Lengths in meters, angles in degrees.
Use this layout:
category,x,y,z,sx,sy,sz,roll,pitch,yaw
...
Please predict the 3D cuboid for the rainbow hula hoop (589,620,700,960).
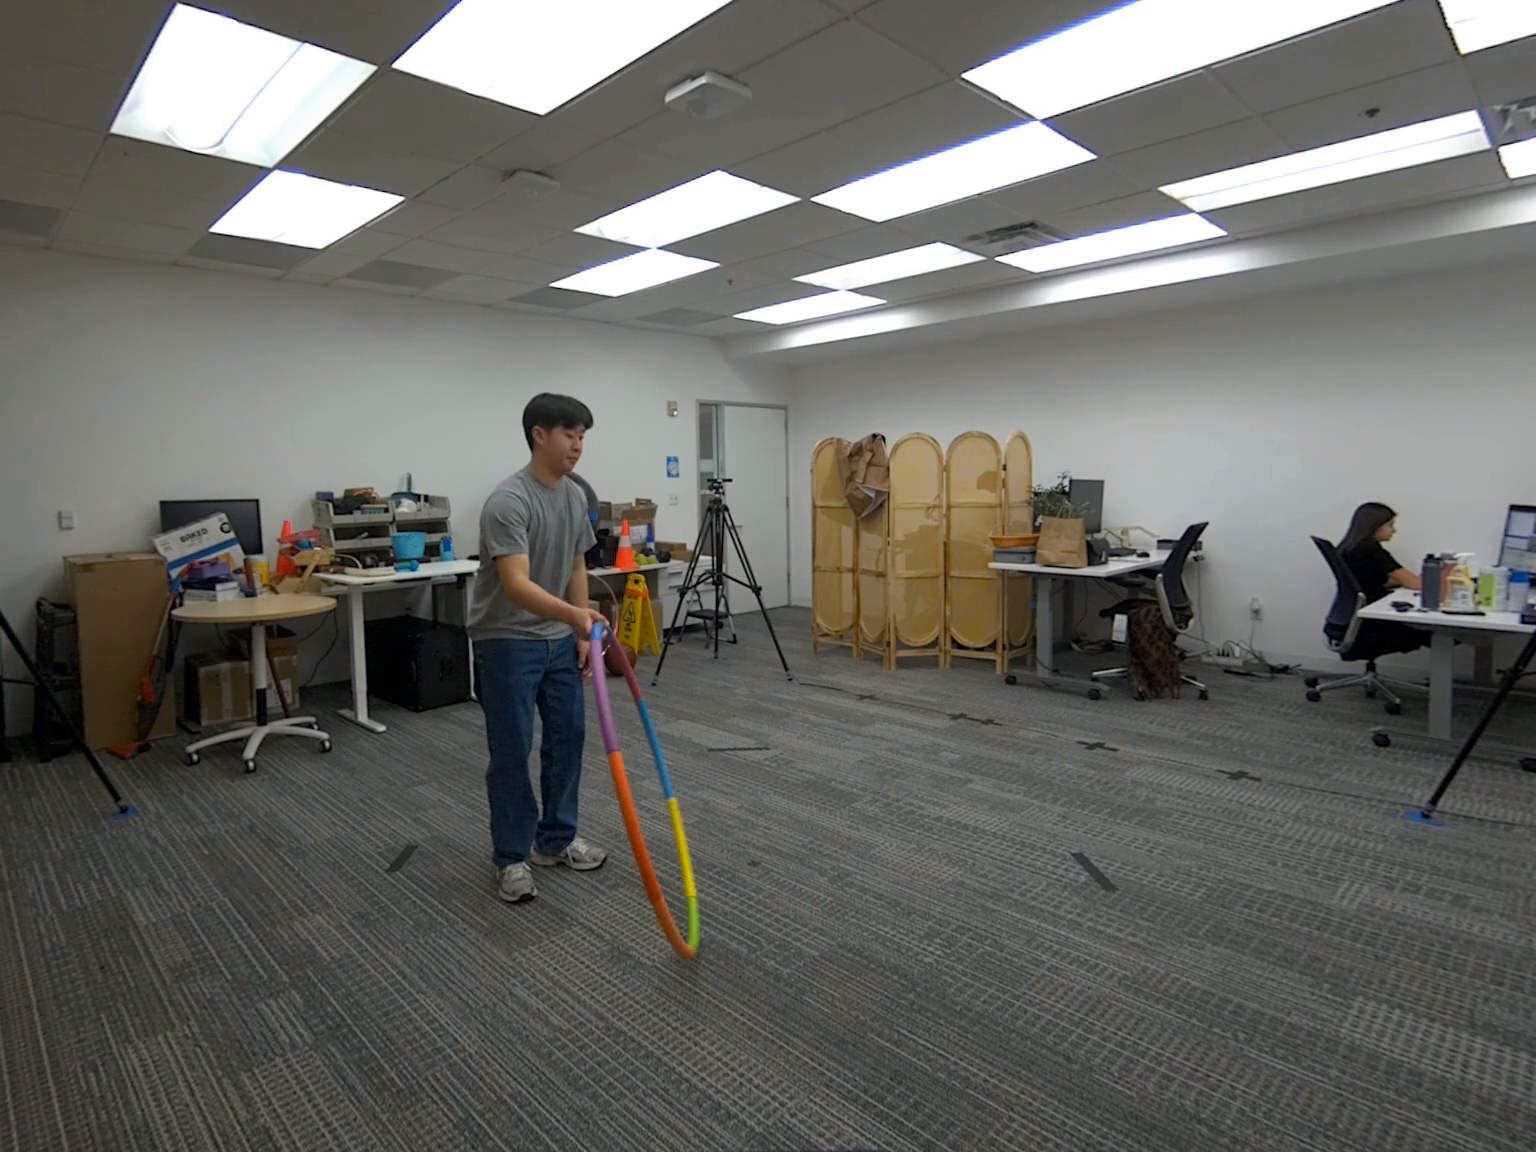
category,x,y,z,sx,sy,sz,roll,pitch,yaw
rainbow hula hoop,-0.362,0.633,2.534,0.035,0.973,0.986,-18,6,-4
